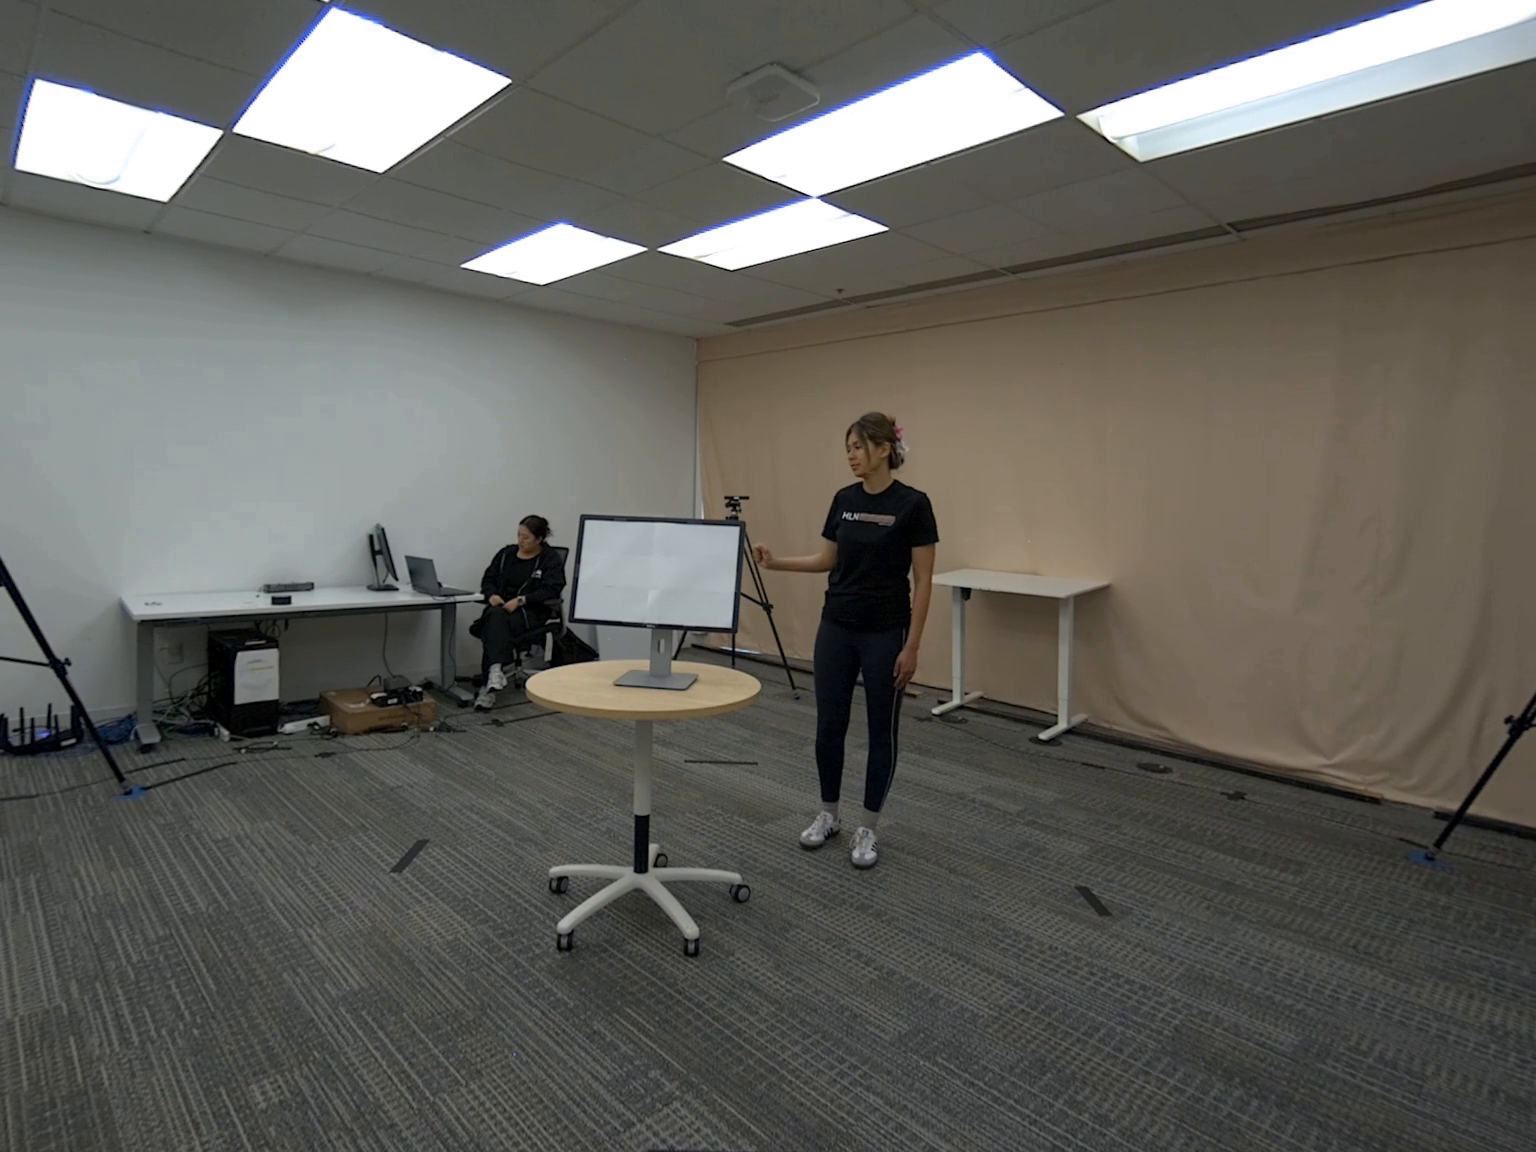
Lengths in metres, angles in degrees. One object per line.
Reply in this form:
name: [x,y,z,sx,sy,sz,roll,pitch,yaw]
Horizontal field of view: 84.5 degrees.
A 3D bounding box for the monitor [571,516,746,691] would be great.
monitor: [-0.359,0.088,2.766,0.543,0.521,0.186,3,3,8]
